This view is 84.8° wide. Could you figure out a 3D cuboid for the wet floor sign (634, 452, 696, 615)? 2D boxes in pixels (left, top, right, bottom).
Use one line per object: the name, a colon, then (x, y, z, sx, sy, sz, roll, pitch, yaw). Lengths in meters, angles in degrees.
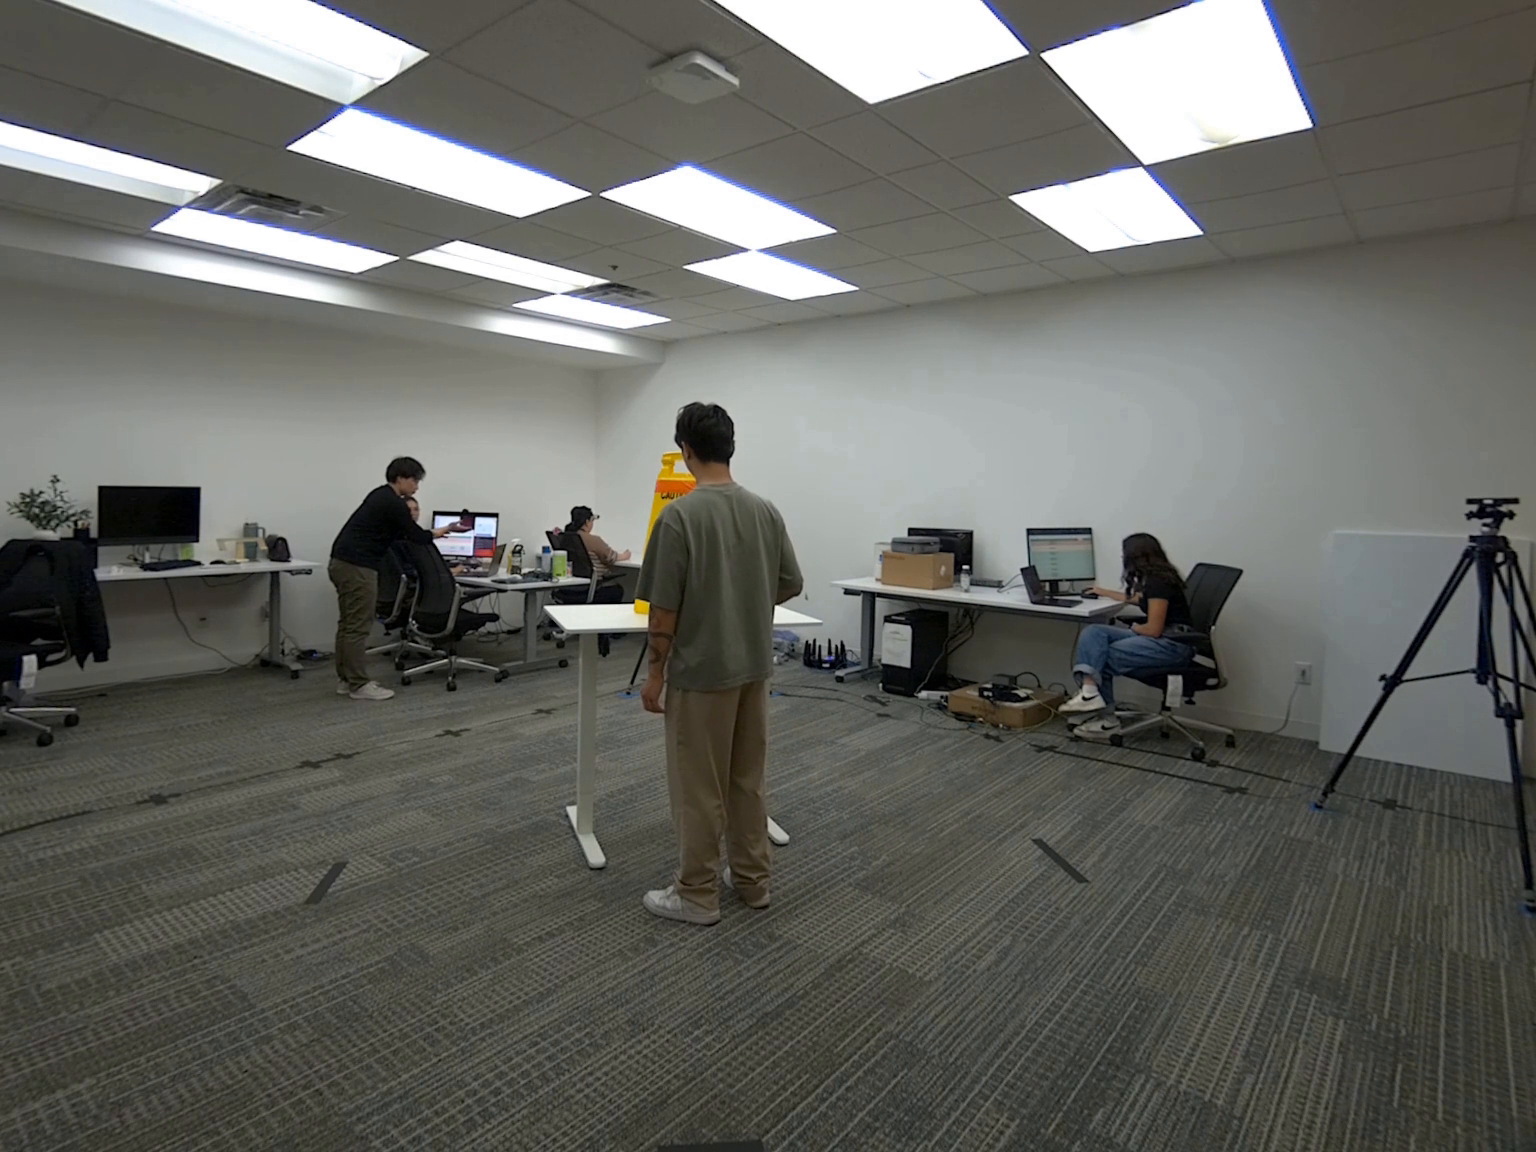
wet floor sign: (-0.361, -0.177, 3.438, 0.291, 0.644, 0.281, 4, 3, 33)
